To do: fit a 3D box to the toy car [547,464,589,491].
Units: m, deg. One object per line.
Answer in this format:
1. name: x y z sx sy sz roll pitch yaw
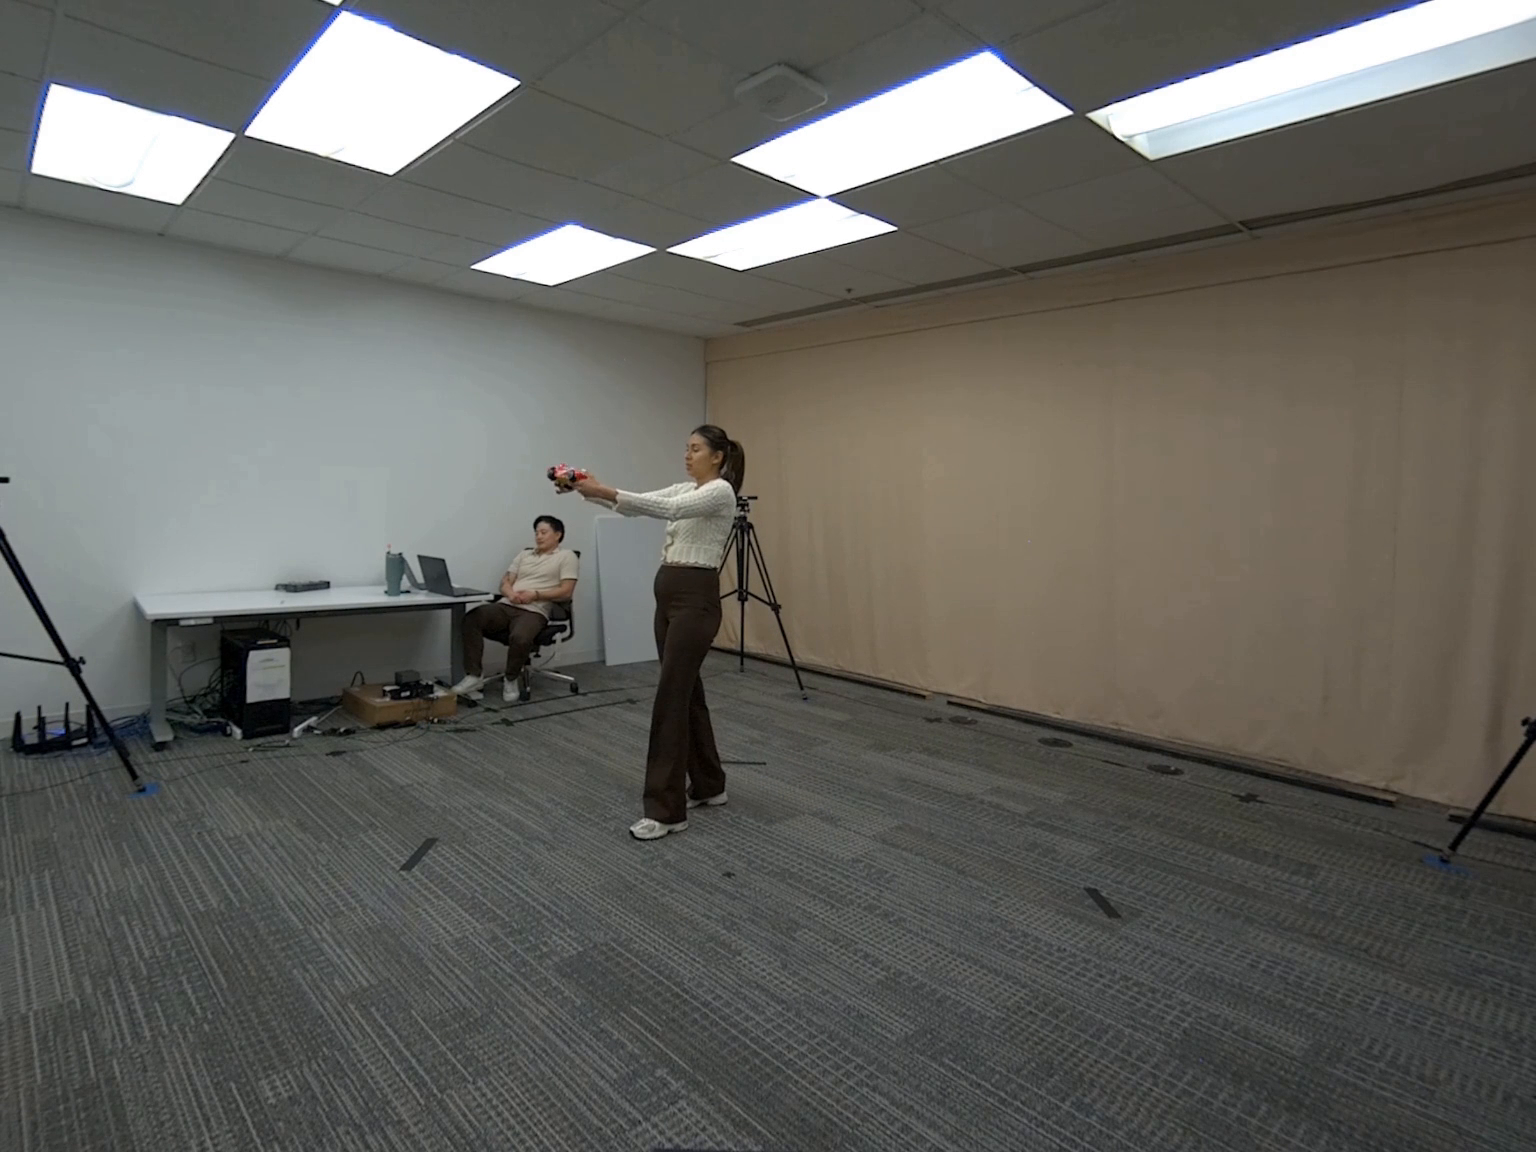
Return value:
1. toy car: -0.806 -0.397 3.398 0.126 0.083 0.262 29 -2 -43
